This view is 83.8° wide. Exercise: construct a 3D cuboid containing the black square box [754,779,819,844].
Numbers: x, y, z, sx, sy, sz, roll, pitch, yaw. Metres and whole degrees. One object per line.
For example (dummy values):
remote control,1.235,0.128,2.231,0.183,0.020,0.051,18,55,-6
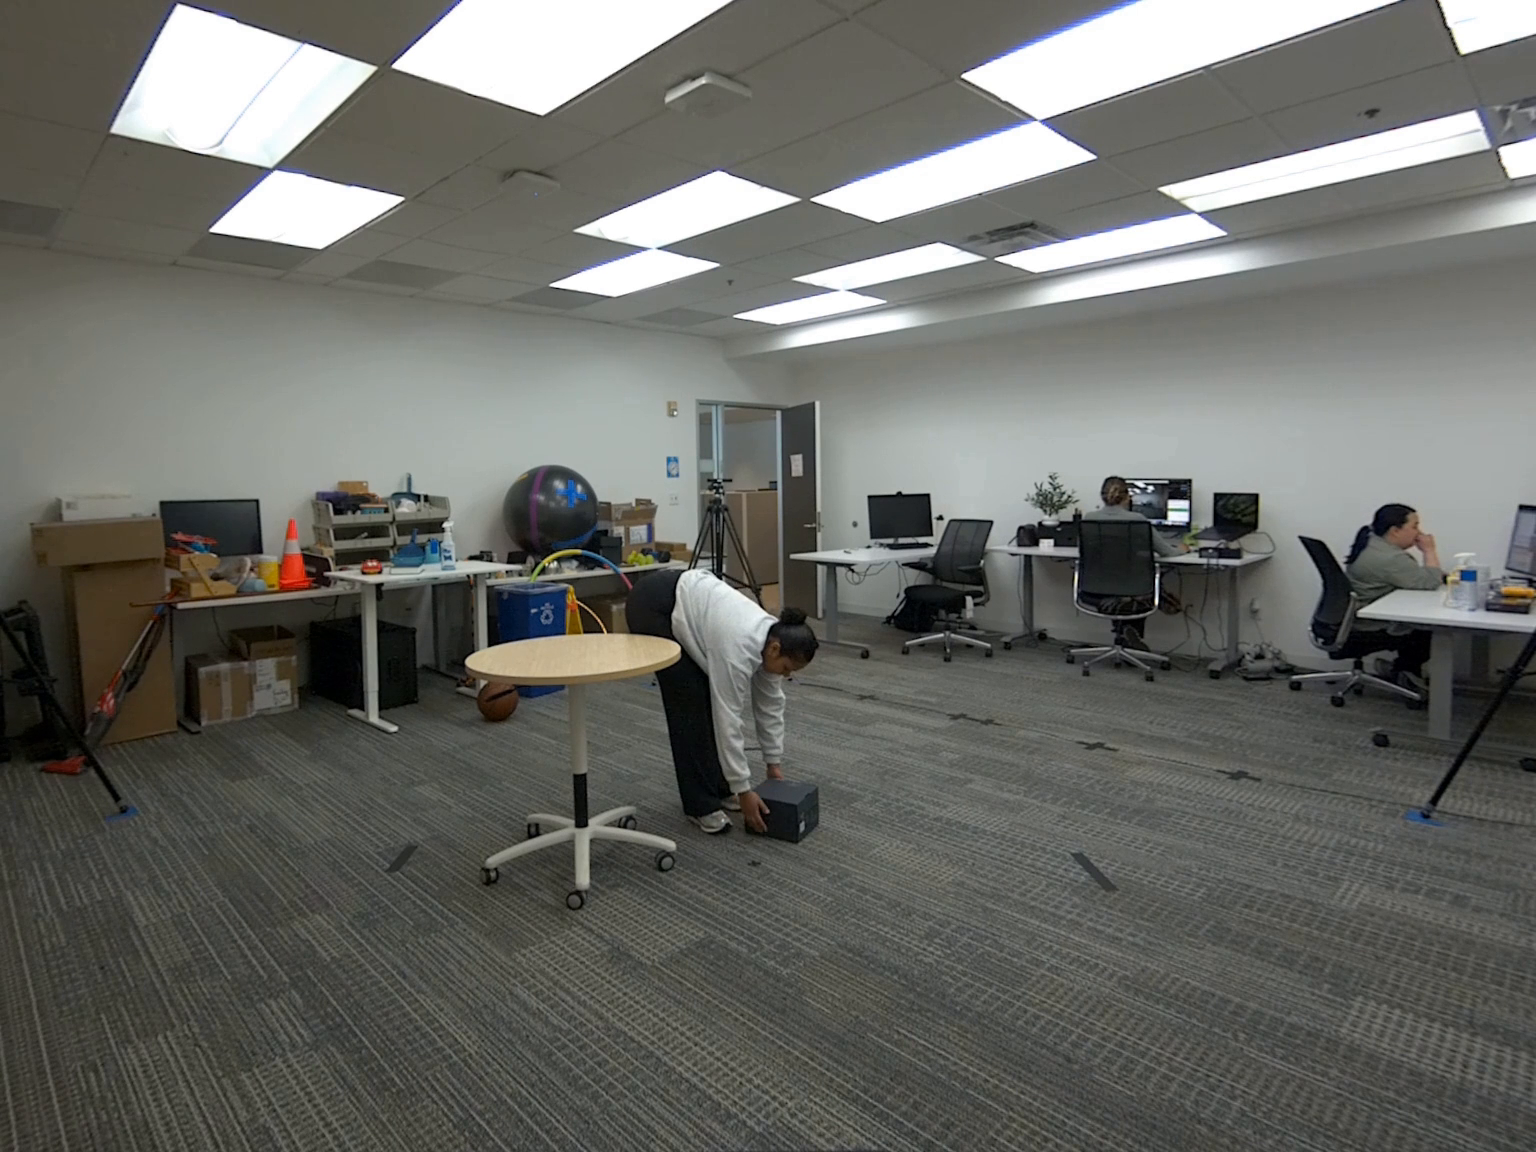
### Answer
black square box,0.057,0.922,3.402,0.233,0.155,0.212,2,6,27
